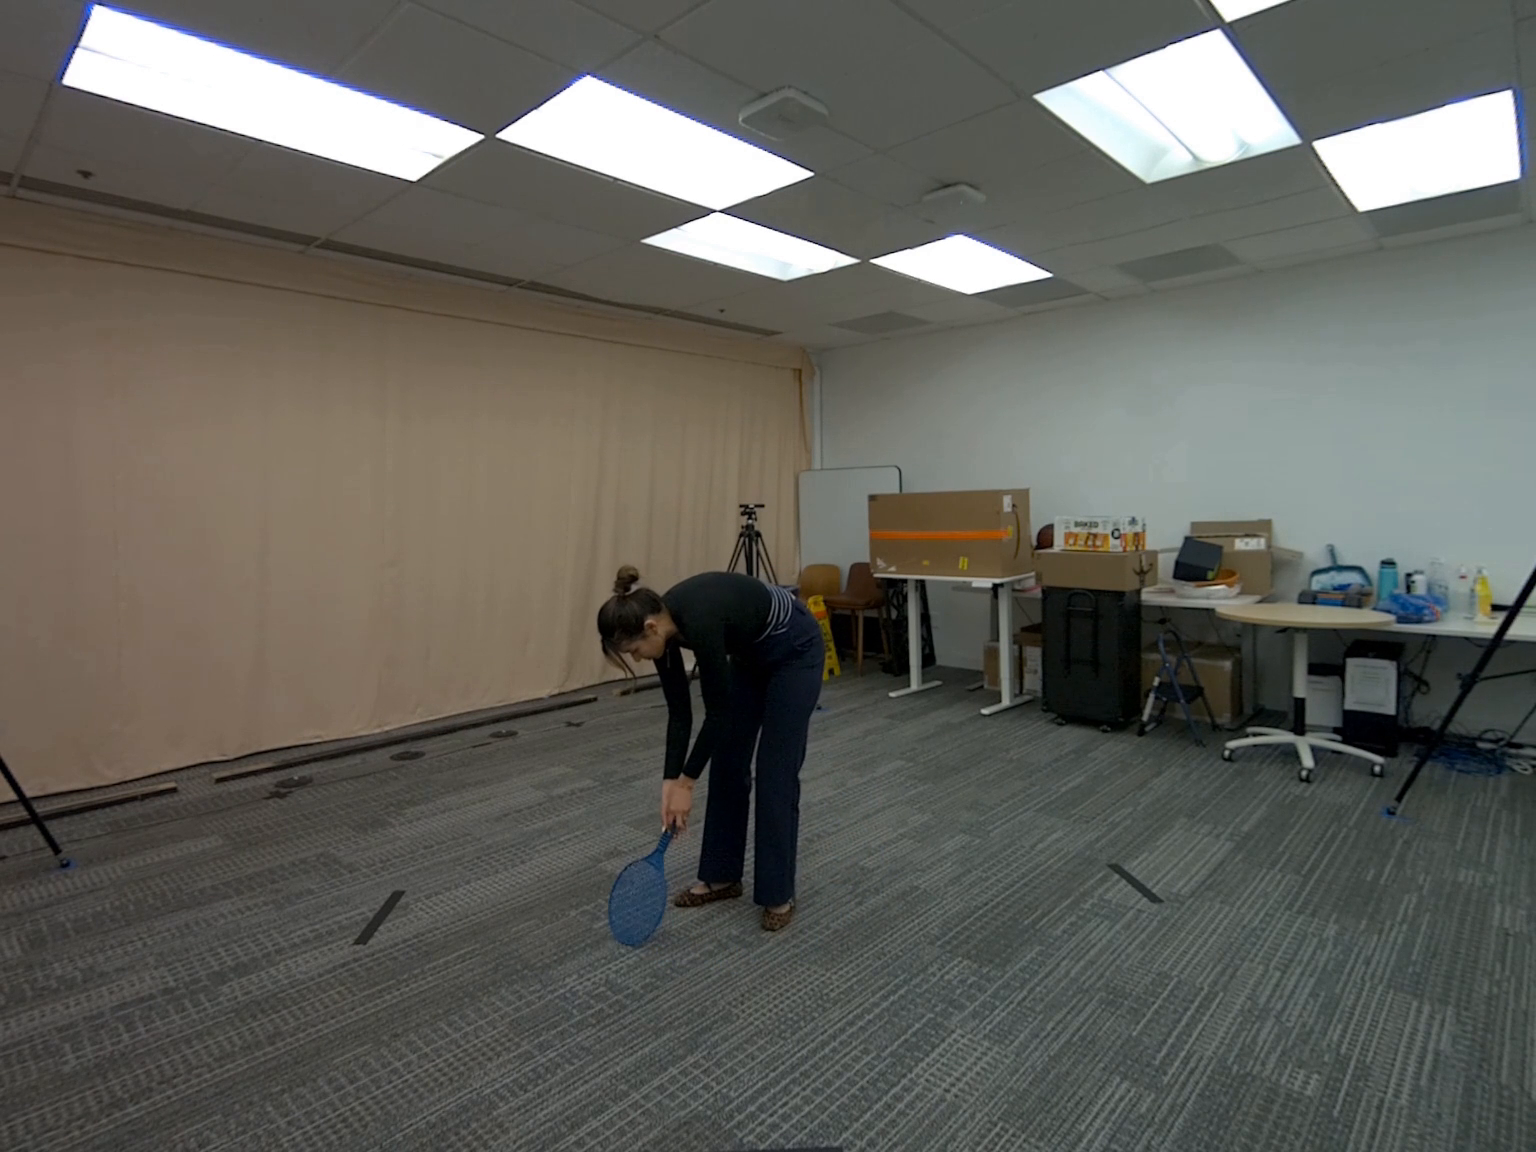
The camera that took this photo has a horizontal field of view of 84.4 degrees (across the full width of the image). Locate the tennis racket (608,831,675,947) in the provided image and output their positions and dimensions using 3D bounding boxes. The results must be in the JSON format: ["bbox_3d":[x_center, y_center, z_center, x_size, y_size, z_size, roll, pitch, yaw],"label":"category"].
[{"bbox_3d":[-0.371,0.970,2.710,0.221,0.433,0.031,25,-2,34],"label":"tennis racket"}]
